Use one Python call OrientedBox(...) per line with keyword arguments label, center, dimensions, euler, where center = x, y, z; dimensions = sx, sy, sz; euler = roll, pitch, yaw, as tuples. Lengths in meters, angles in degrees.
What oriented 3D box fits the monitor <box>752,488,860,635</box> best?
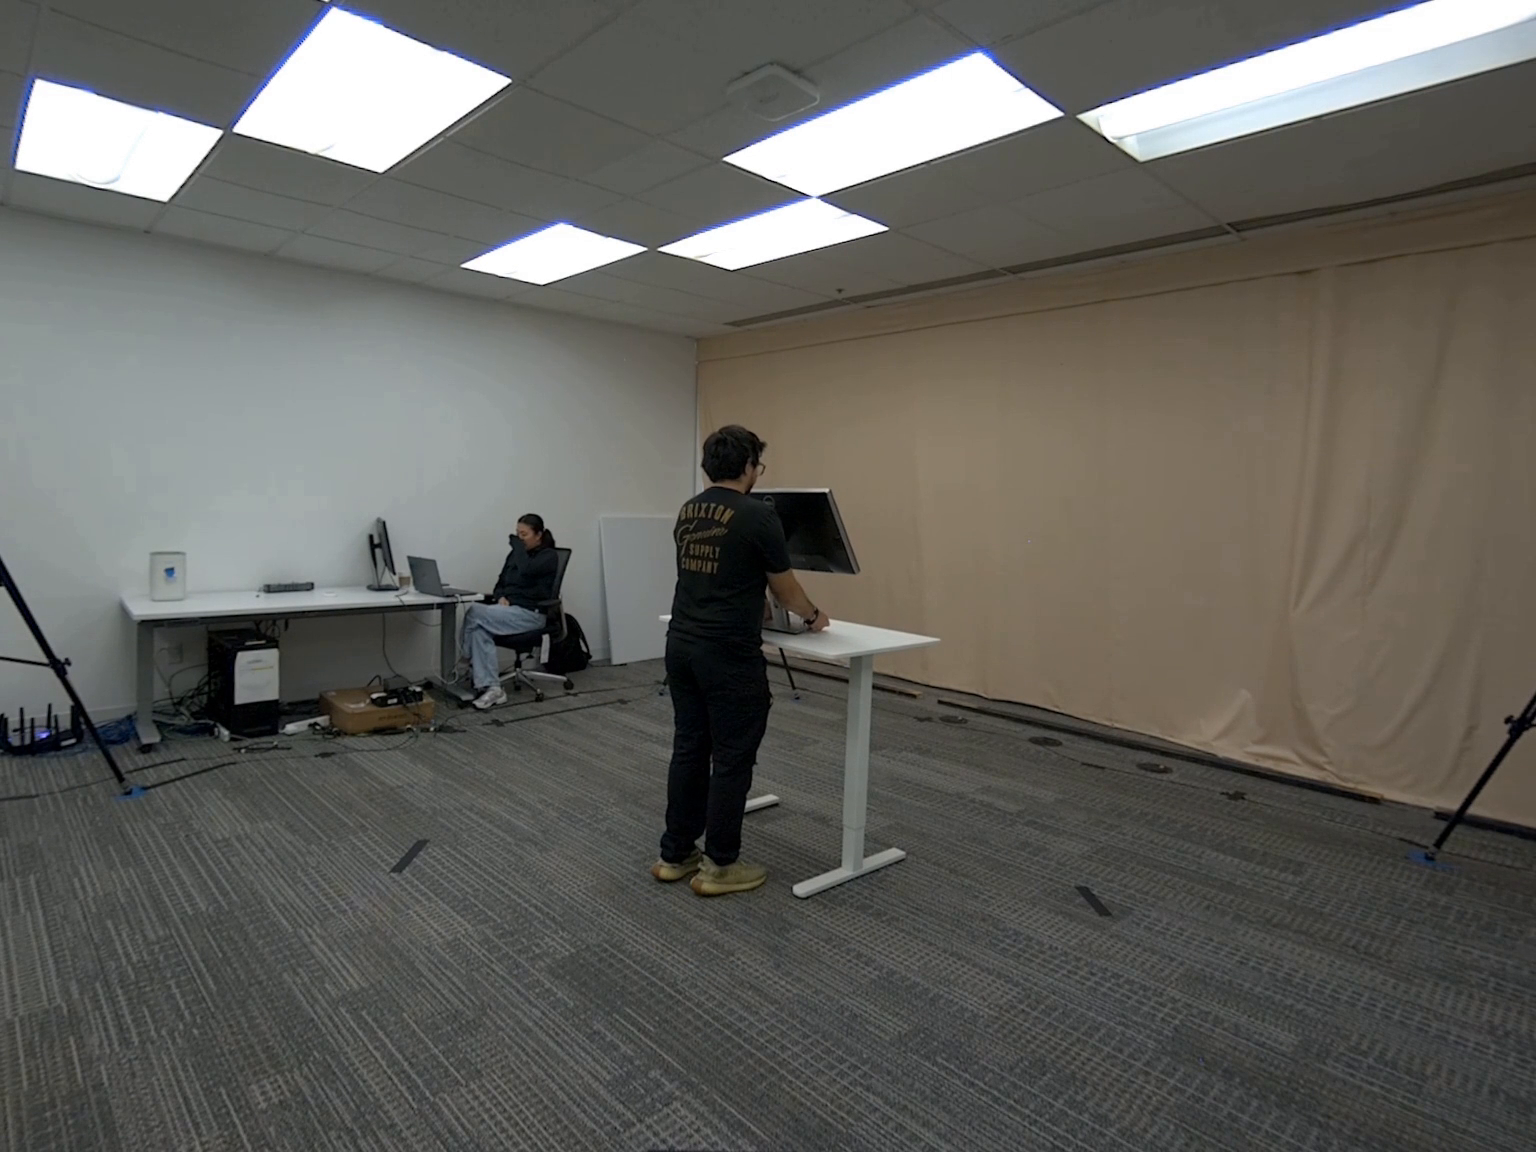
OrientedBox(label="monitor", center=(0.042, -0.062, 3.240), dimensions=(0.580, 0.544, 0.208), euler=(5, 28, 44))
